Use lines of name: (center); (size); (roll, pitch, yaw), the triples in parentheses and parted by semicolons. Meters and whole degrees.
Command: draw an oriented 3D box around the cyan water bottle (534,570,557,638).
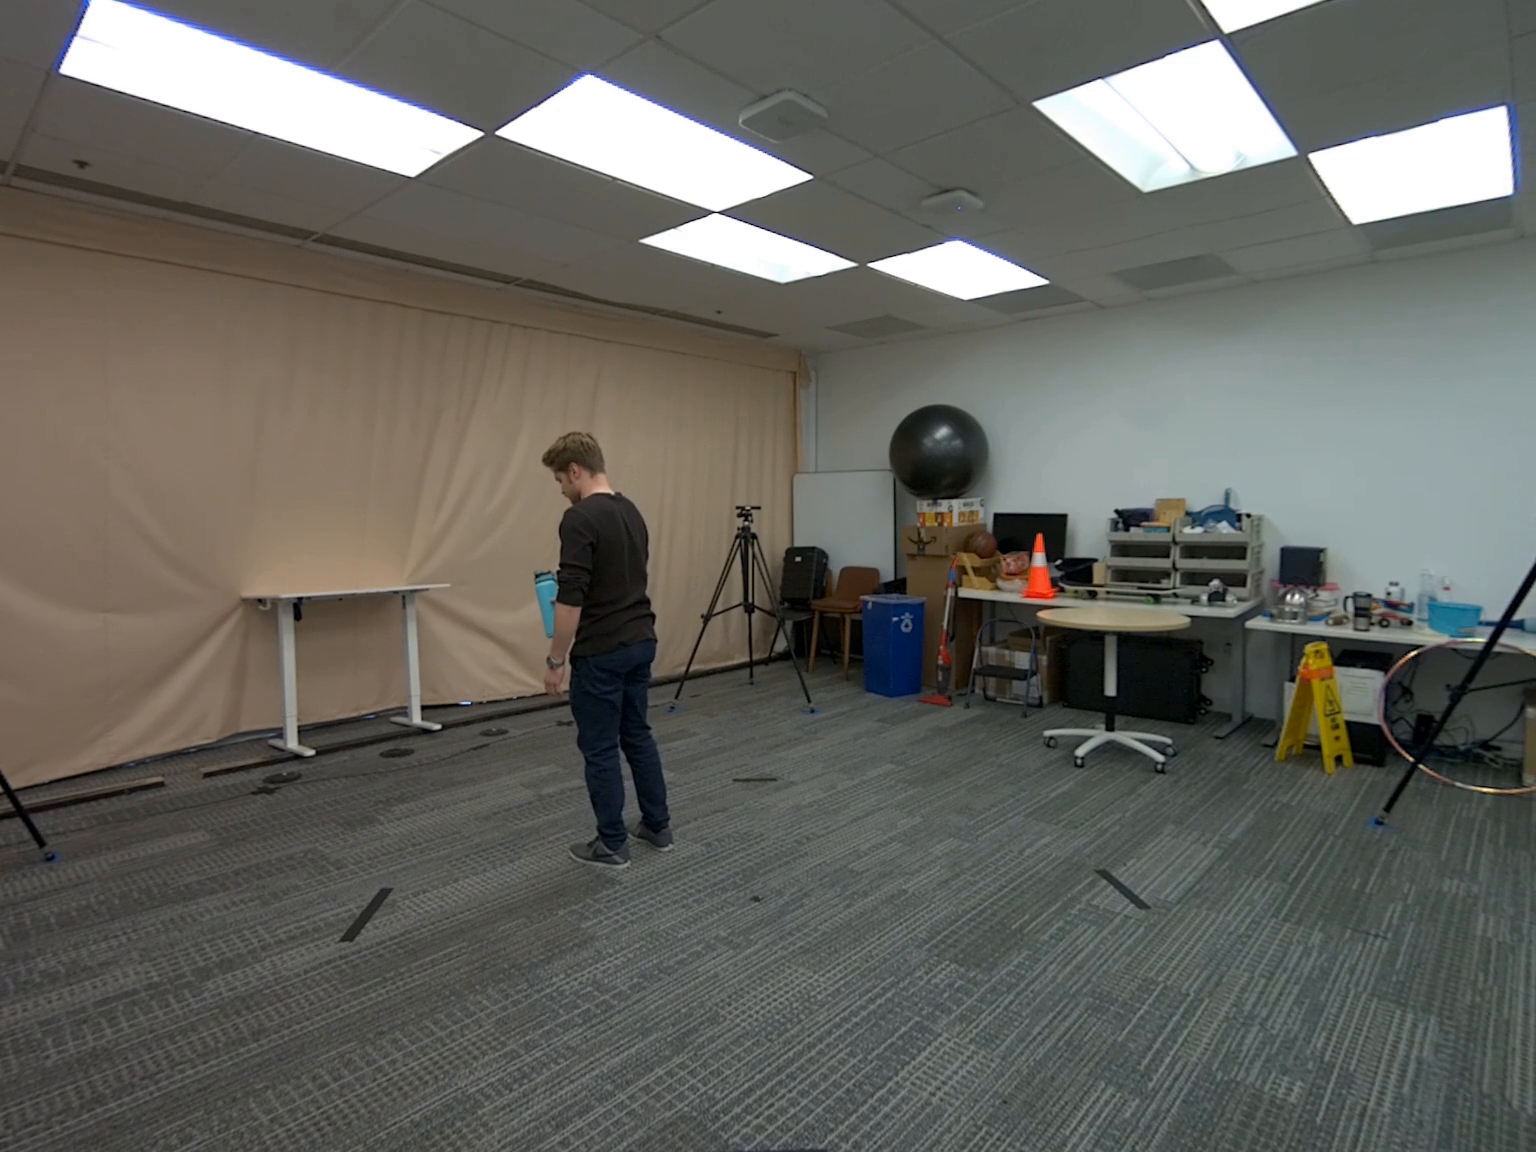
cyan water bottle: (-0.912, 0.117, 3.511); (0.092, 0.285, 0.092); (-15, -5, -3)
